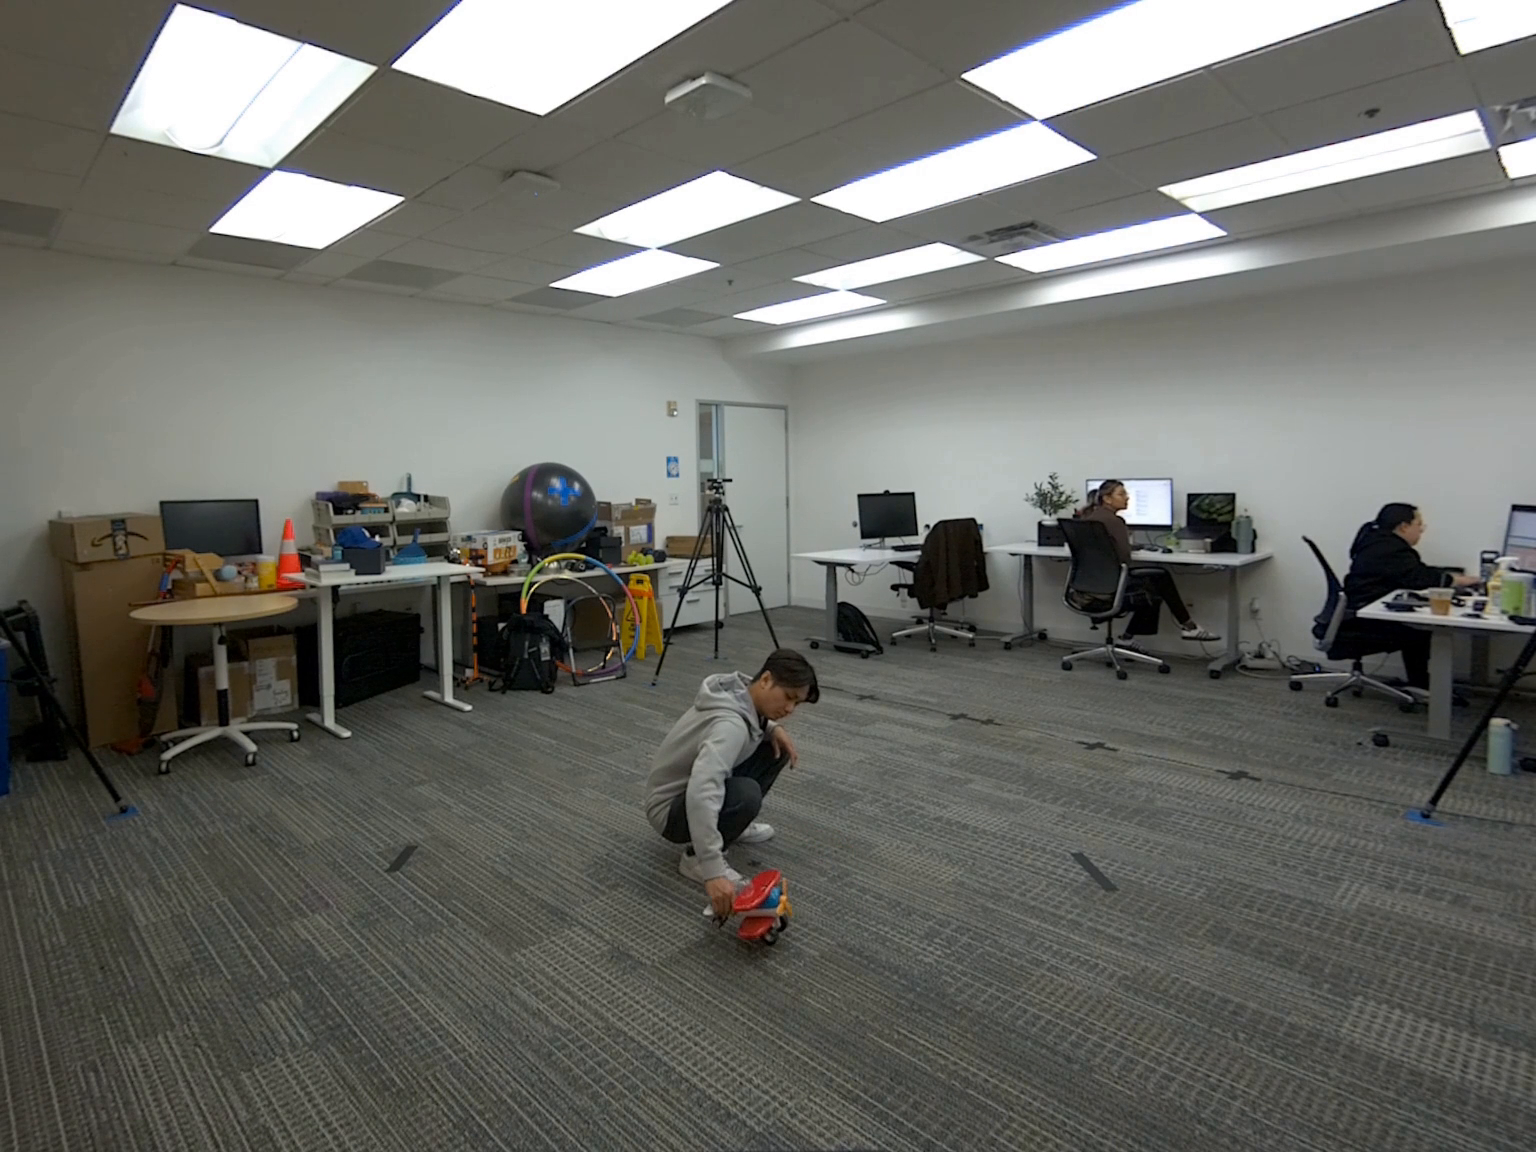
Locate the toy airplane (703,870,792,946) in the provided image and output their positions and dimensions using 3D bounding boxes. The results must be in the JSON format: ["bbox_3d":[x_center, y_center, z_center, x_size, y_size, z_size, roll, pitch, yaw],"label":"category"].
[{"bbox_3d":[-0.061,1.011,2.565,0.258,0.155,0.254,0,7,-5],"label":"toy airplane"}]
